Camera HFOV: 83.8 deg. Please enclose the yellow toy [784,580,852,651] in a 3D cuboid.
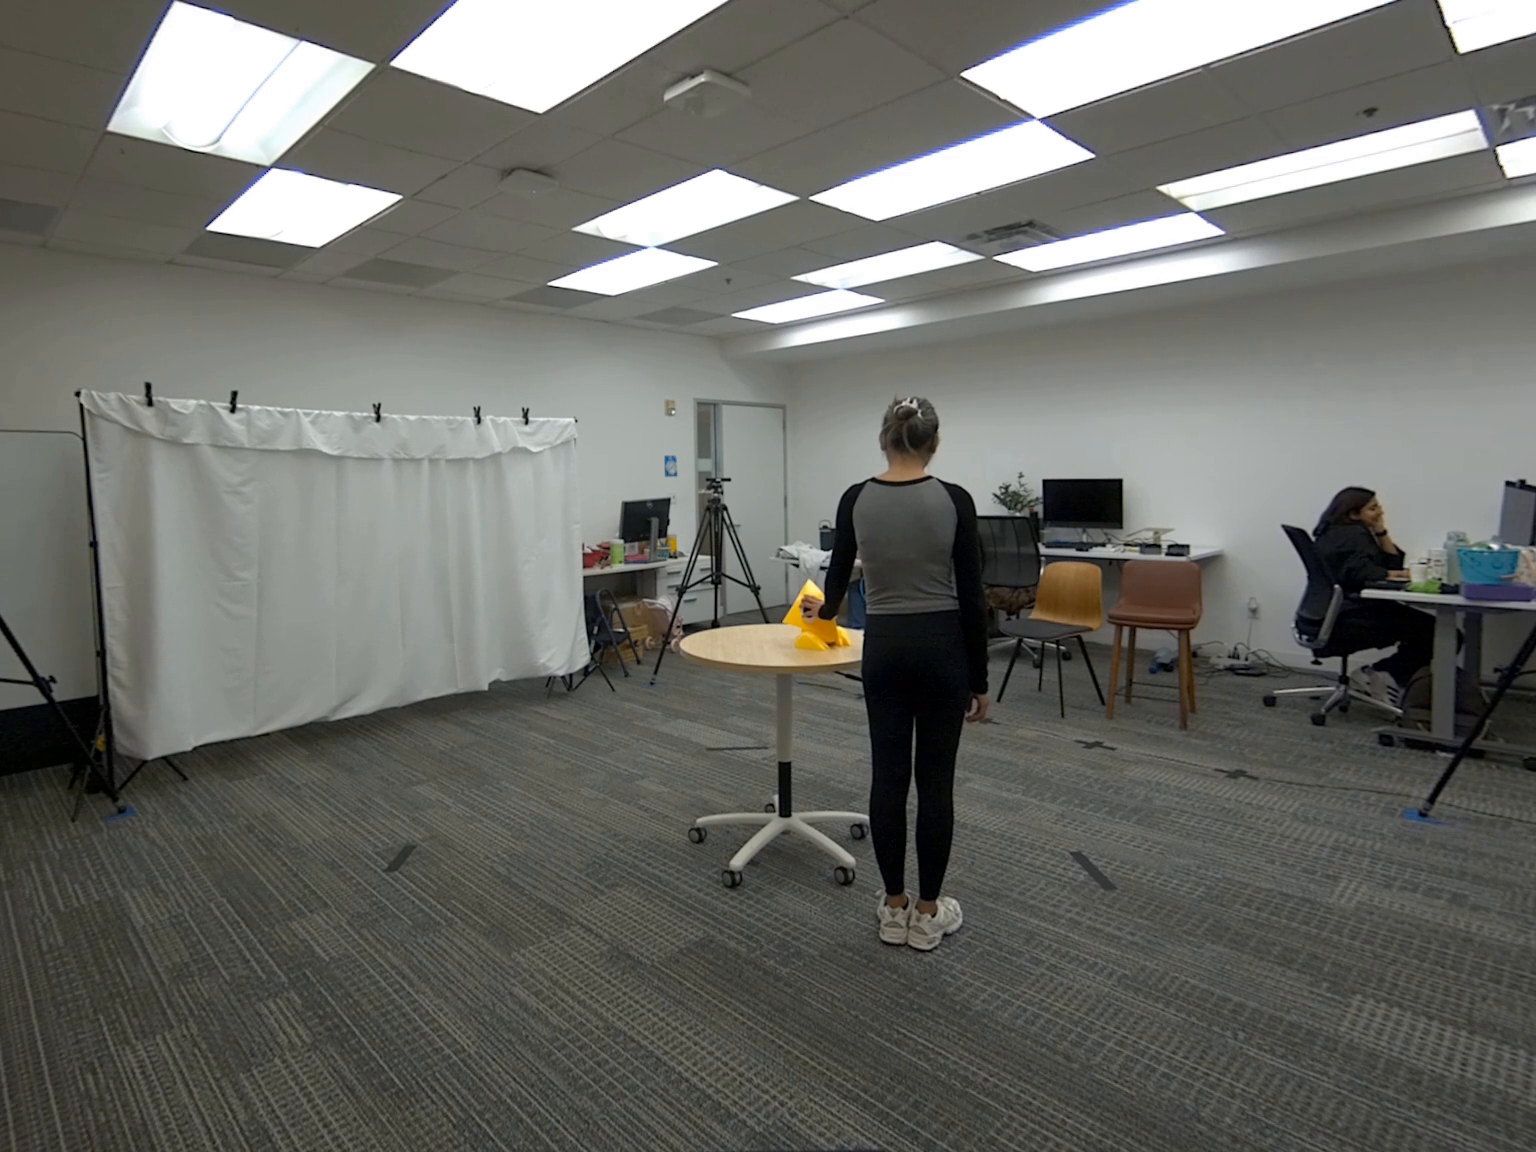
[{"bbox_3d":[0.193,0.136,3.093,0.199,0.229,0.199,-5,7,-36],"label":"yellow toy"}]
